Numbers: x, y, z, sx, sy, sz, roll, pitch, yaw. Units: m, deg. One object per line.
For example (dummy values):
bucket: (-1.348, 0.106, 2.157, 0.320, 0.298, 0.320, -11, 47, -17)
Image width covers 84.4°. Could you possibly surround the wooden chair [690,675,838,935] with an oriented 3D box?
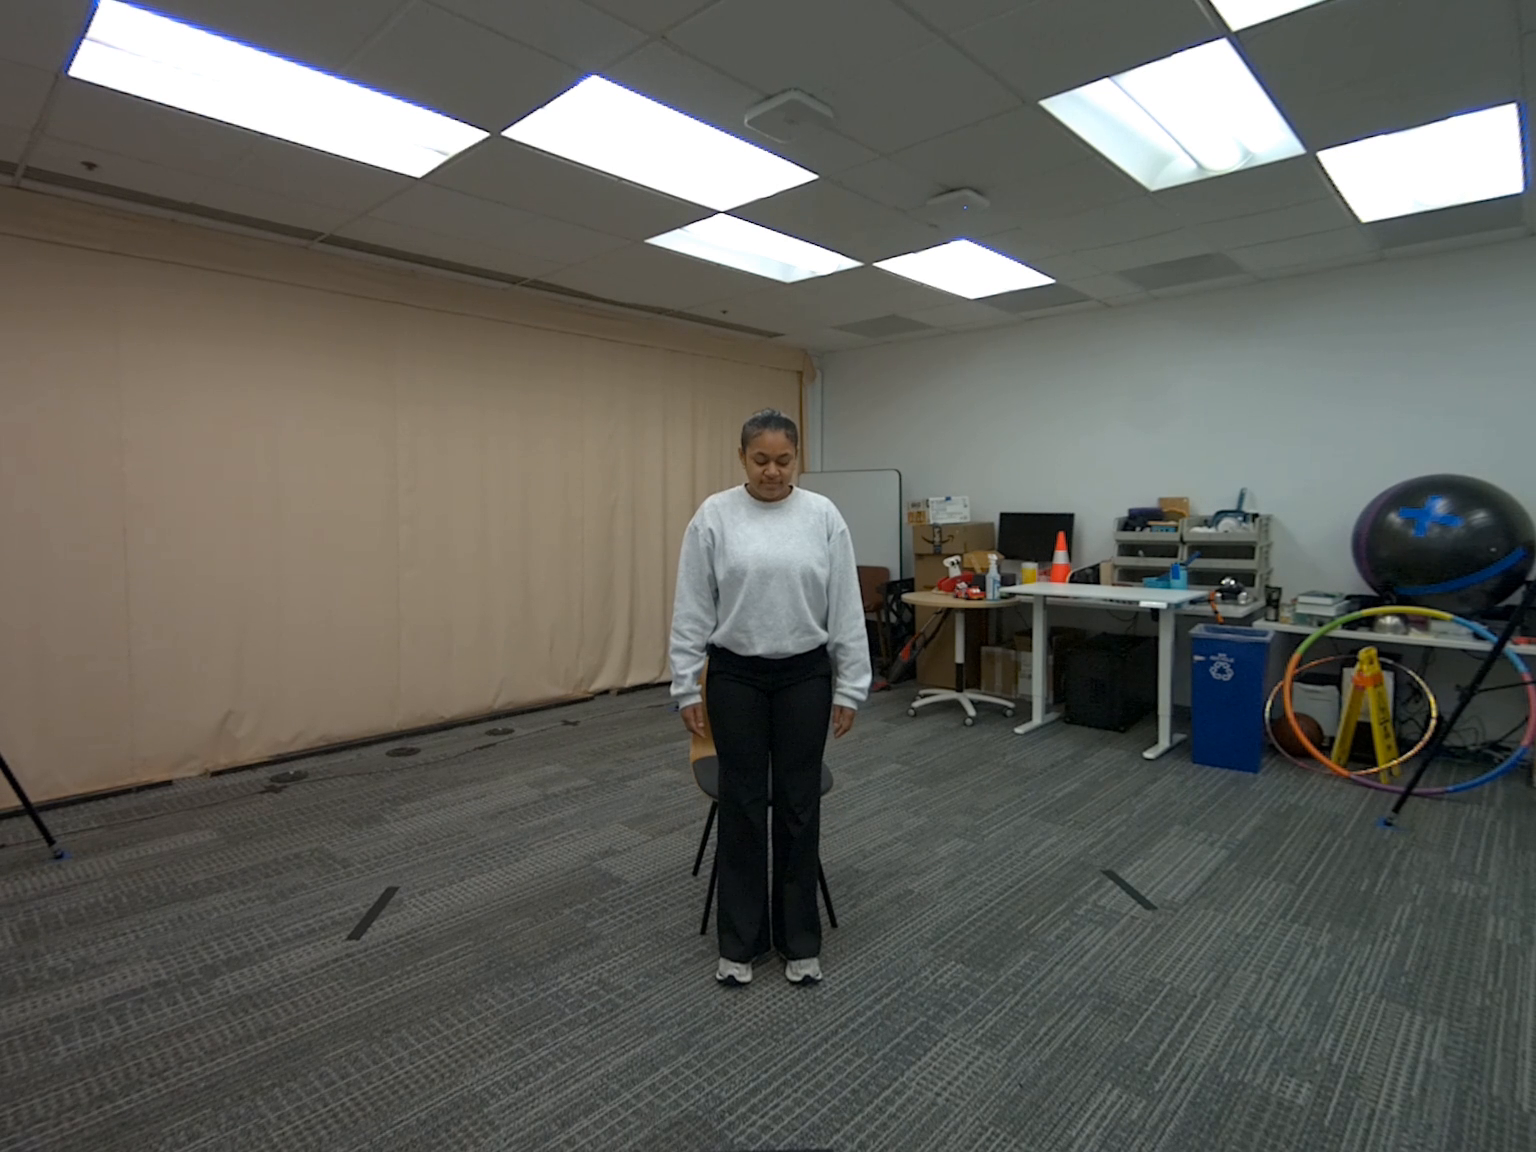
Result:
wooden chair: (-0.024, 0.716, 2.939, 0.474, 0.878, 0.527, 0, -1, -8)
